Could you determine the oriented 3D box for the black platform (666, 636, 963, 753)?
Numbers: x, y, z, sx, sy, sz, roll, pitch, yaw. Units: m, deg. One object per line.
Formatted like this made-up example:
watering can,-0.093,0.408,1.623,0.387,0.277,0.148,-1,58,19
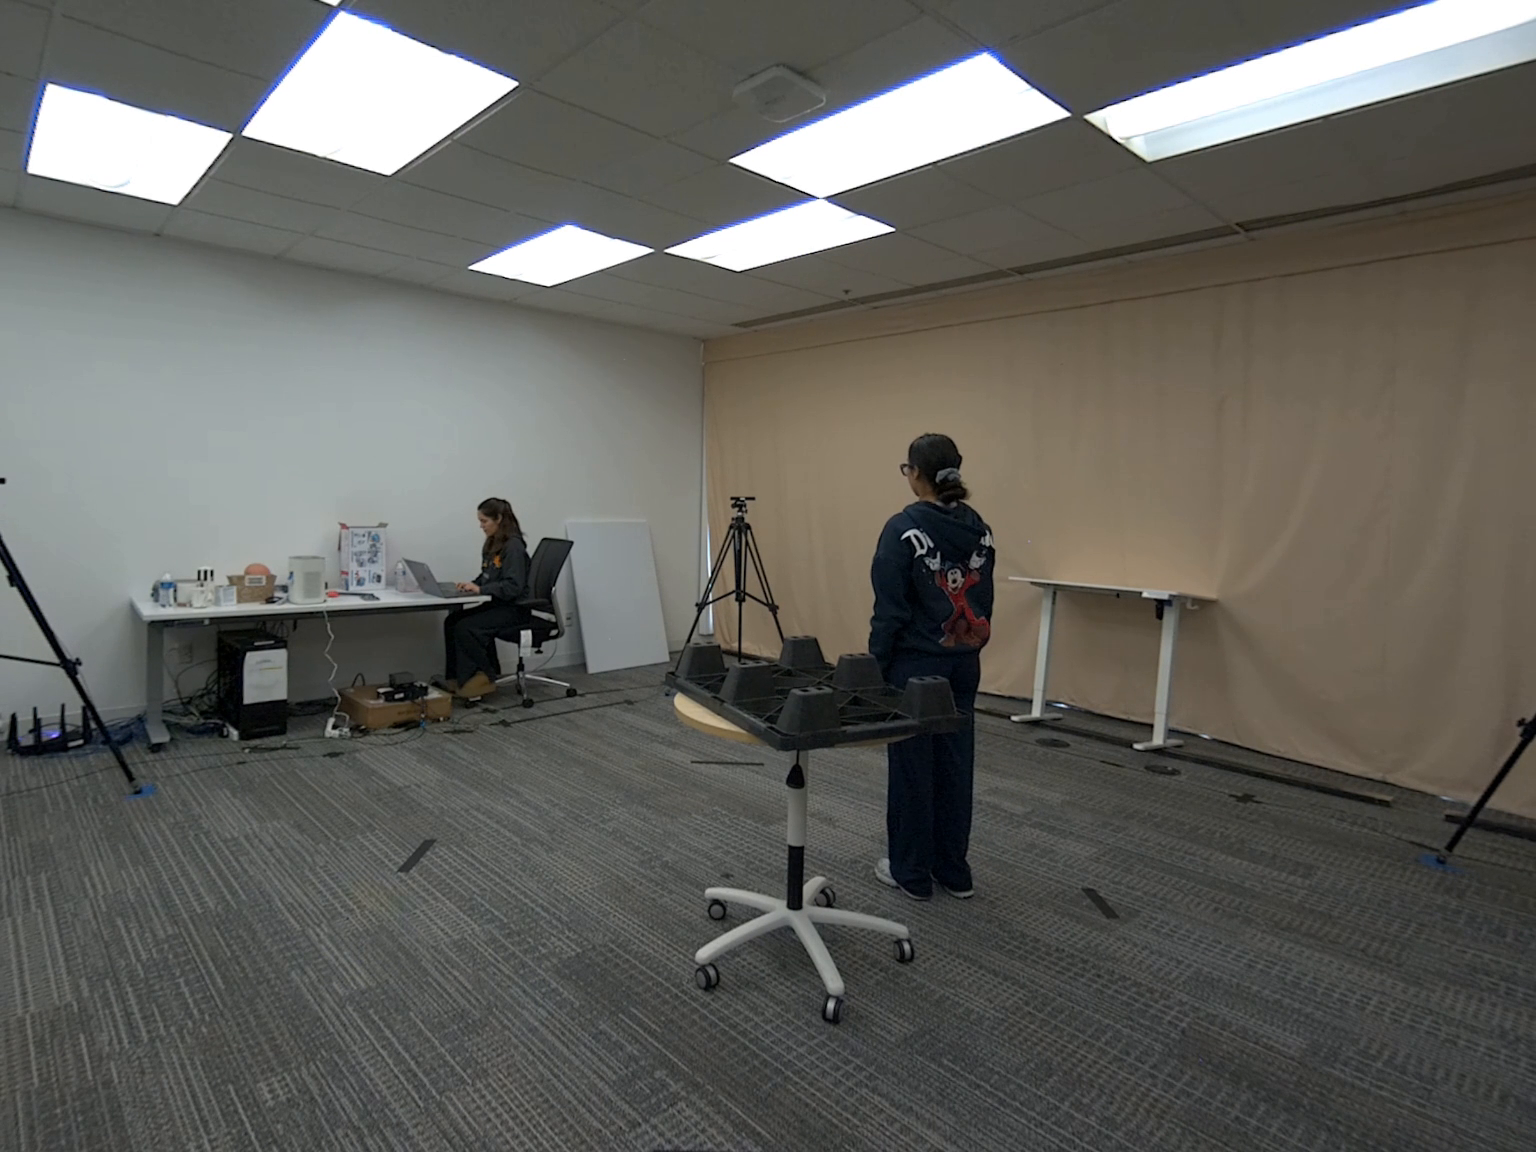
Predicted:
black platform,0.100,0.321,2.520,0.594,0.143,0.823,-2,6,-28
